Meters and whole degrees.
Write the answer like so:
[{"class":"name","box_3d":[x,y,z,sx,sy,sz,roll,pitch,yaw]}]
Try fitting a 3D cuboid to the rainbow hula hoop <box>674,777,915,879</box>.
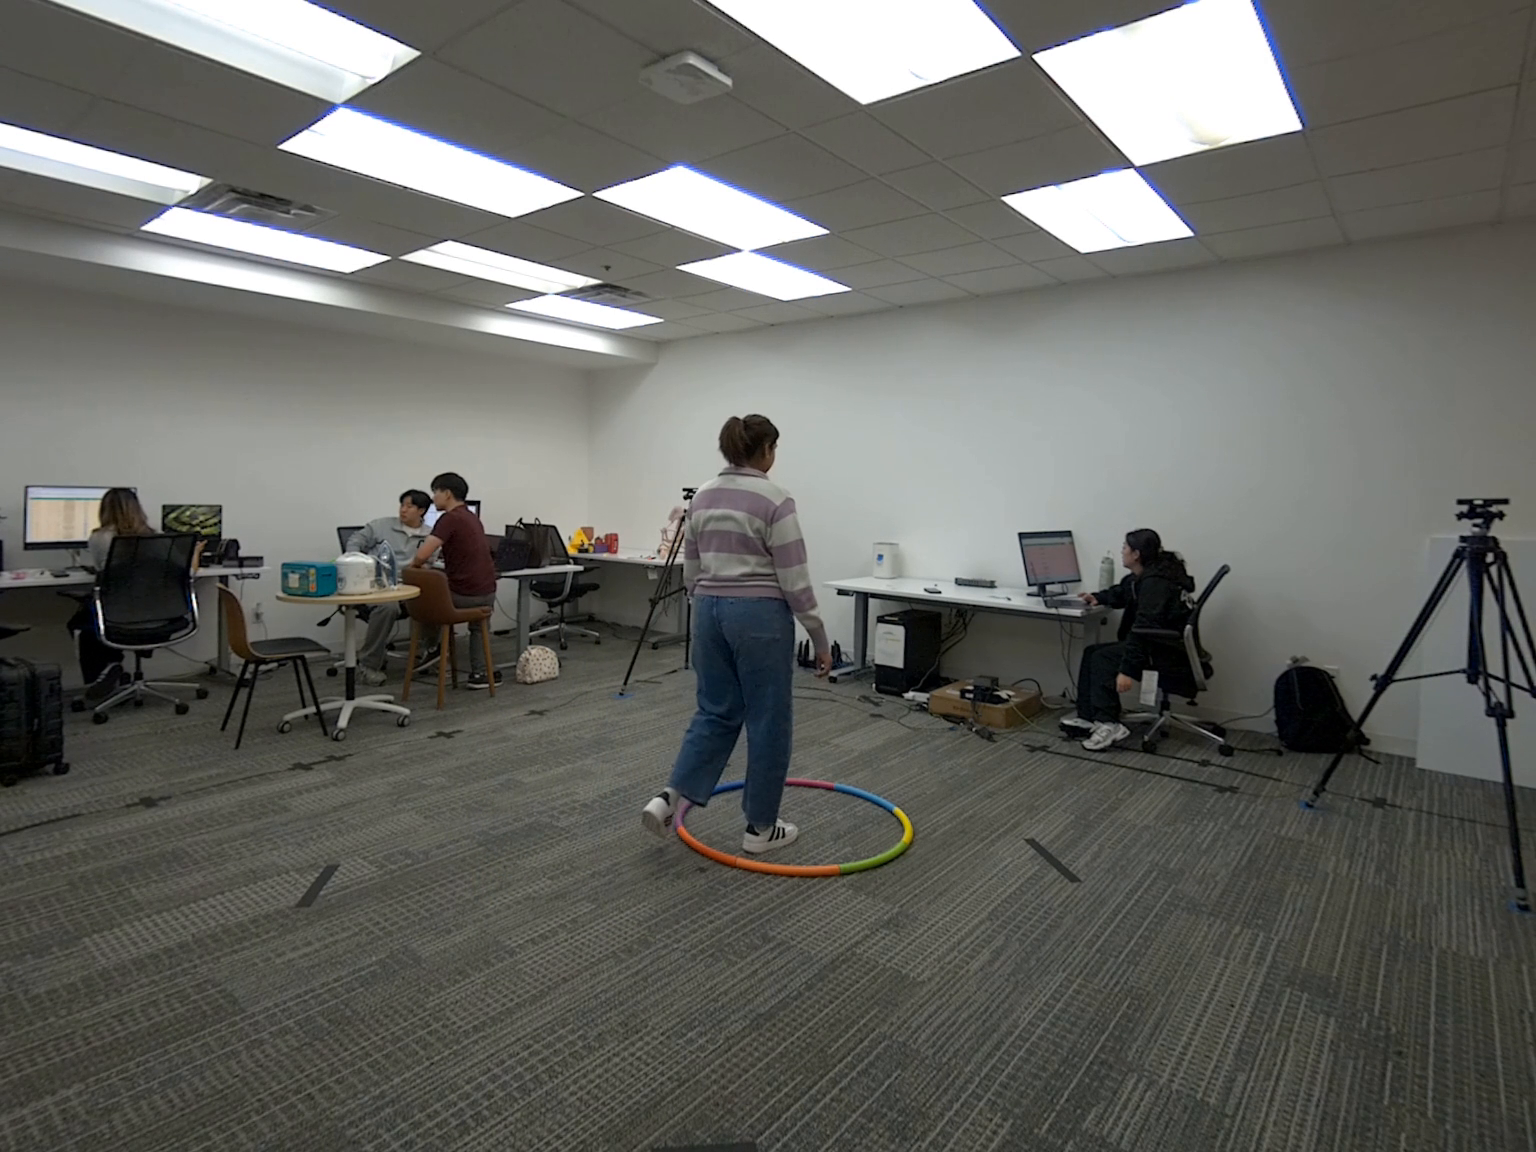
[{"class":"rainbow hula hoop","box_3d":[0.094,1.005,3.545,0.978,0.035,0.984,1,6,-2]}]
